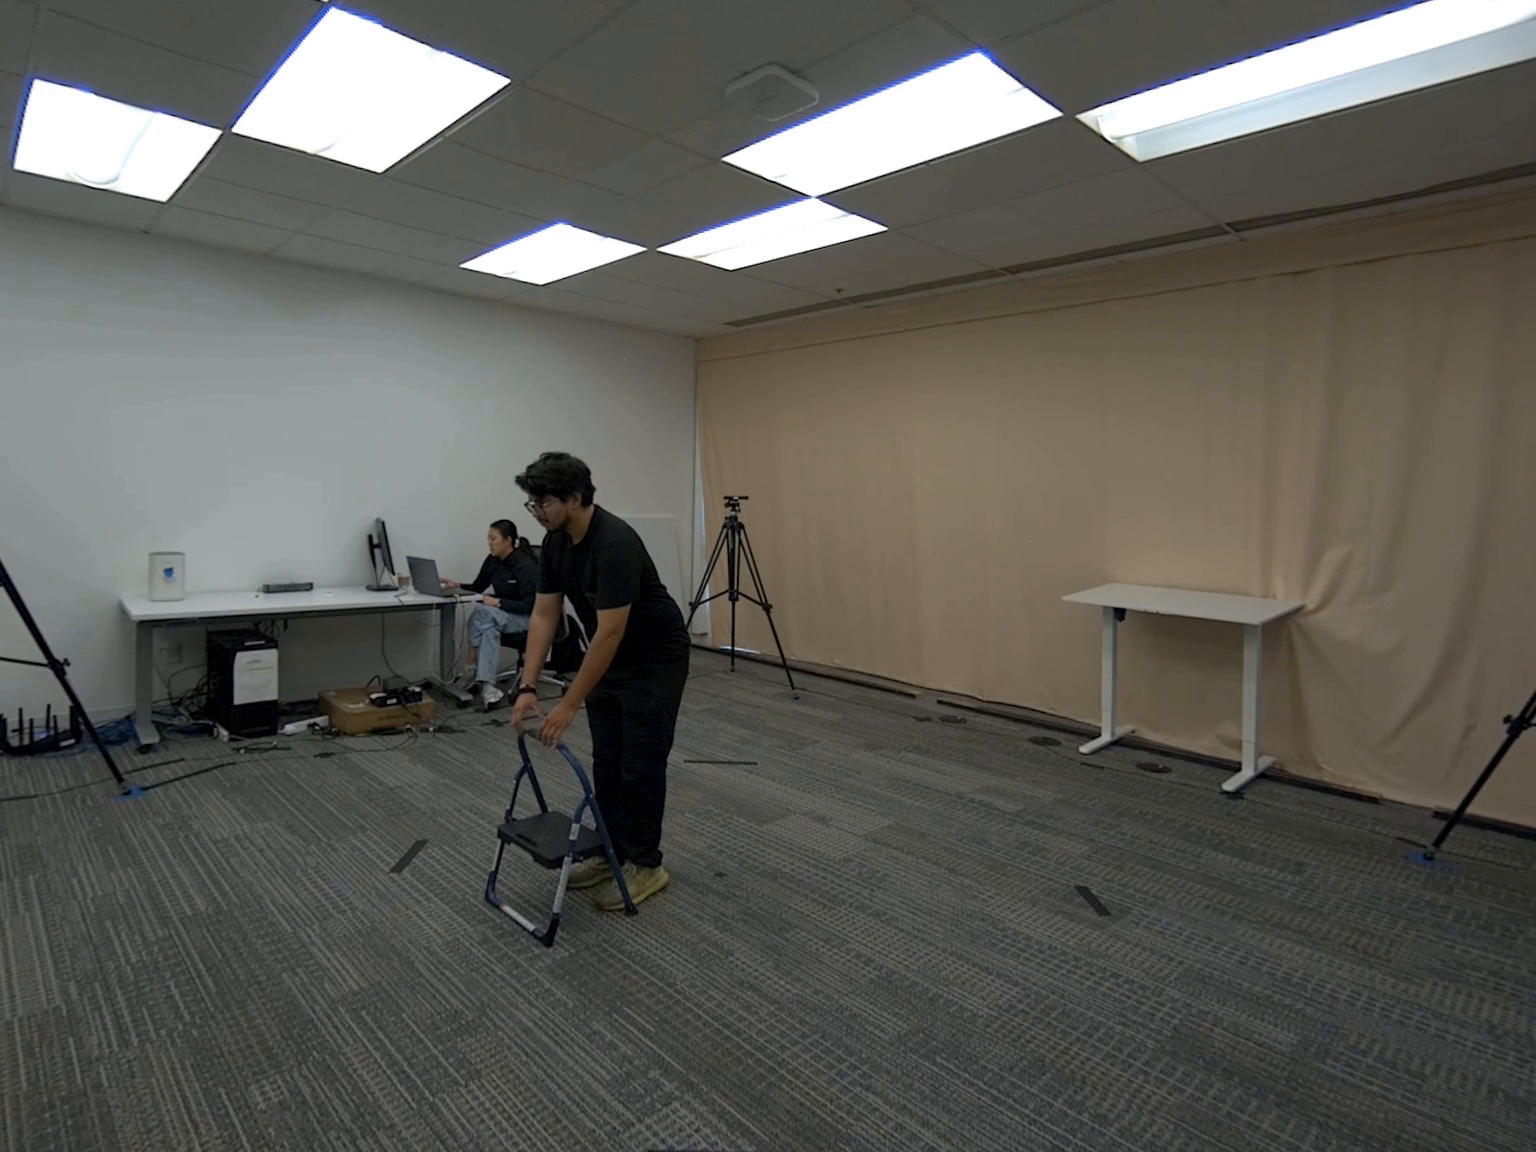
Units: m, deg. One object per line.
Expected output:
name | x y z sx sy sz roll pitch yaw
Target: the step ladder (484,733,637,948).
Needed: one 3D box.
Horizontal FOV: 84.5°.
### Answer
step ladder | -0.703 0.816 2.820 0.341 0.604 0.441 -2 5 -45
